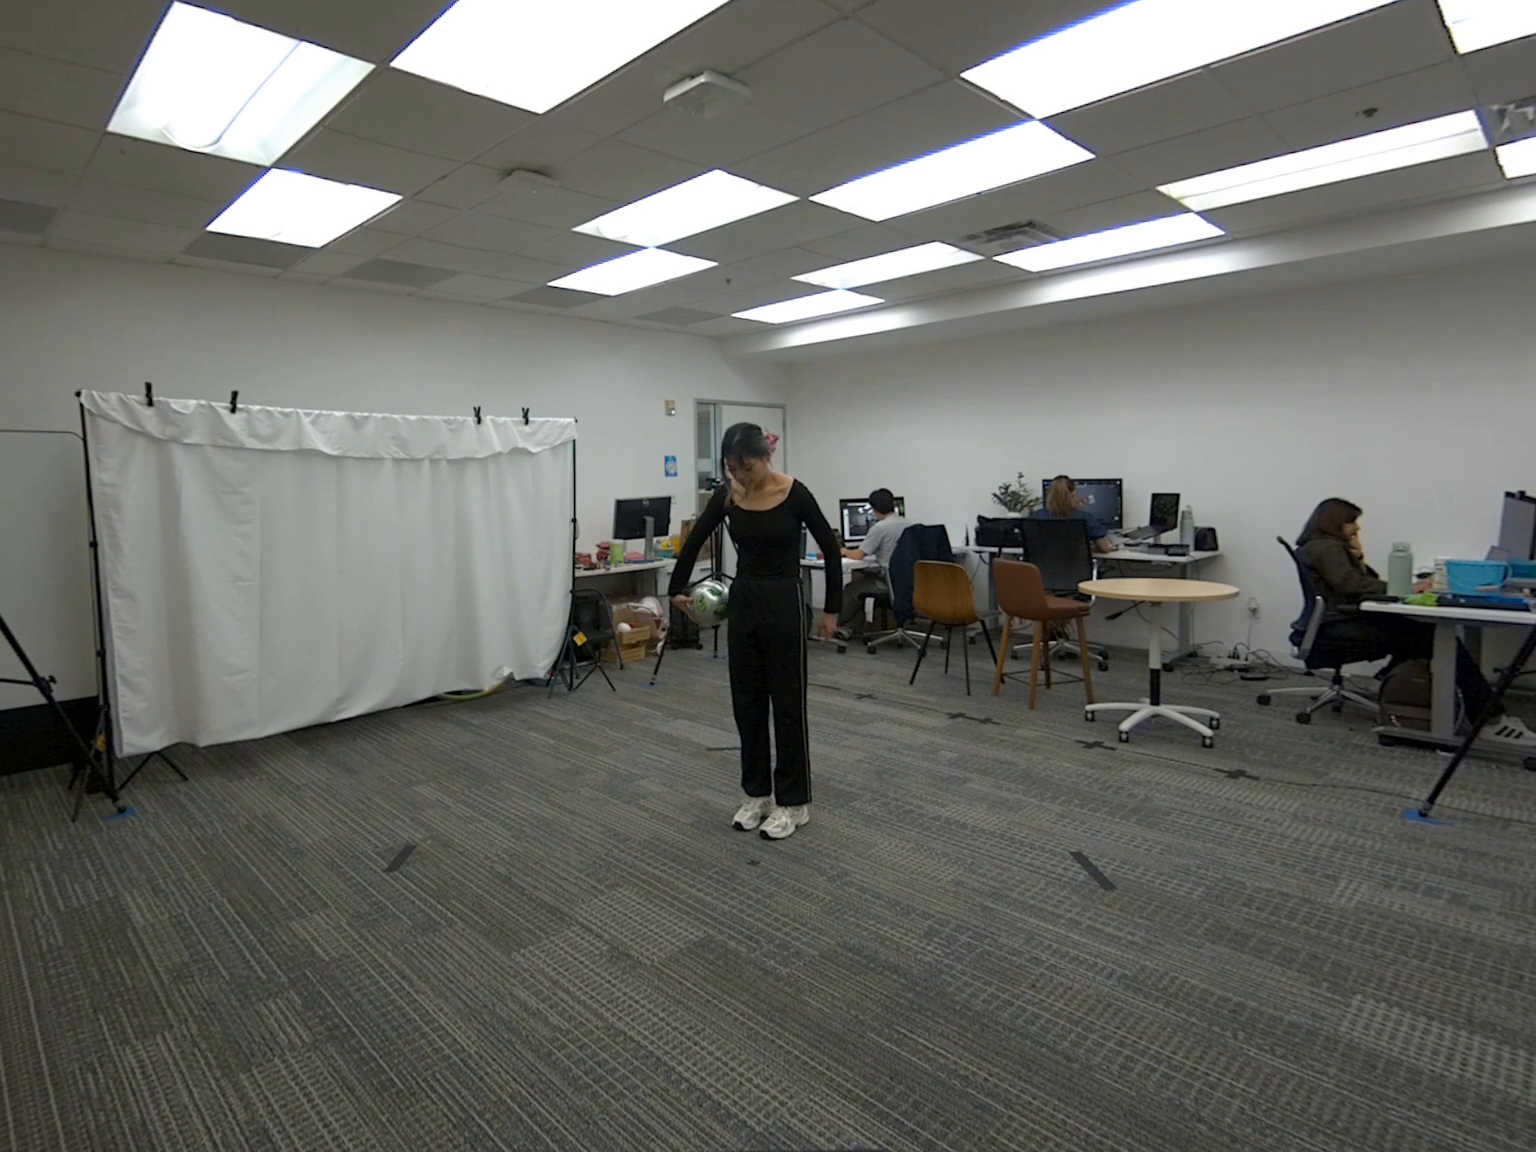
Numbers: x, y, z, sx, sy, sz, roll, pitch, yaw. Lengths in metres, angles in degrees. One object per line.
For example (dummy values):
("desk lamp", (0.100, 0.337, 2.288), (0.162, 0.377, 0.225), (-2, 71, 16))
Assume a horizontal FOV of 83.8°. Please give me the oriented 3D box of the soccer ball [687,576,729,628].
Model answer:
("soccer ball", (-0.223, 0.112, 3.572), (0.187, 0.187, 0.188), (-1, 5, -2))
